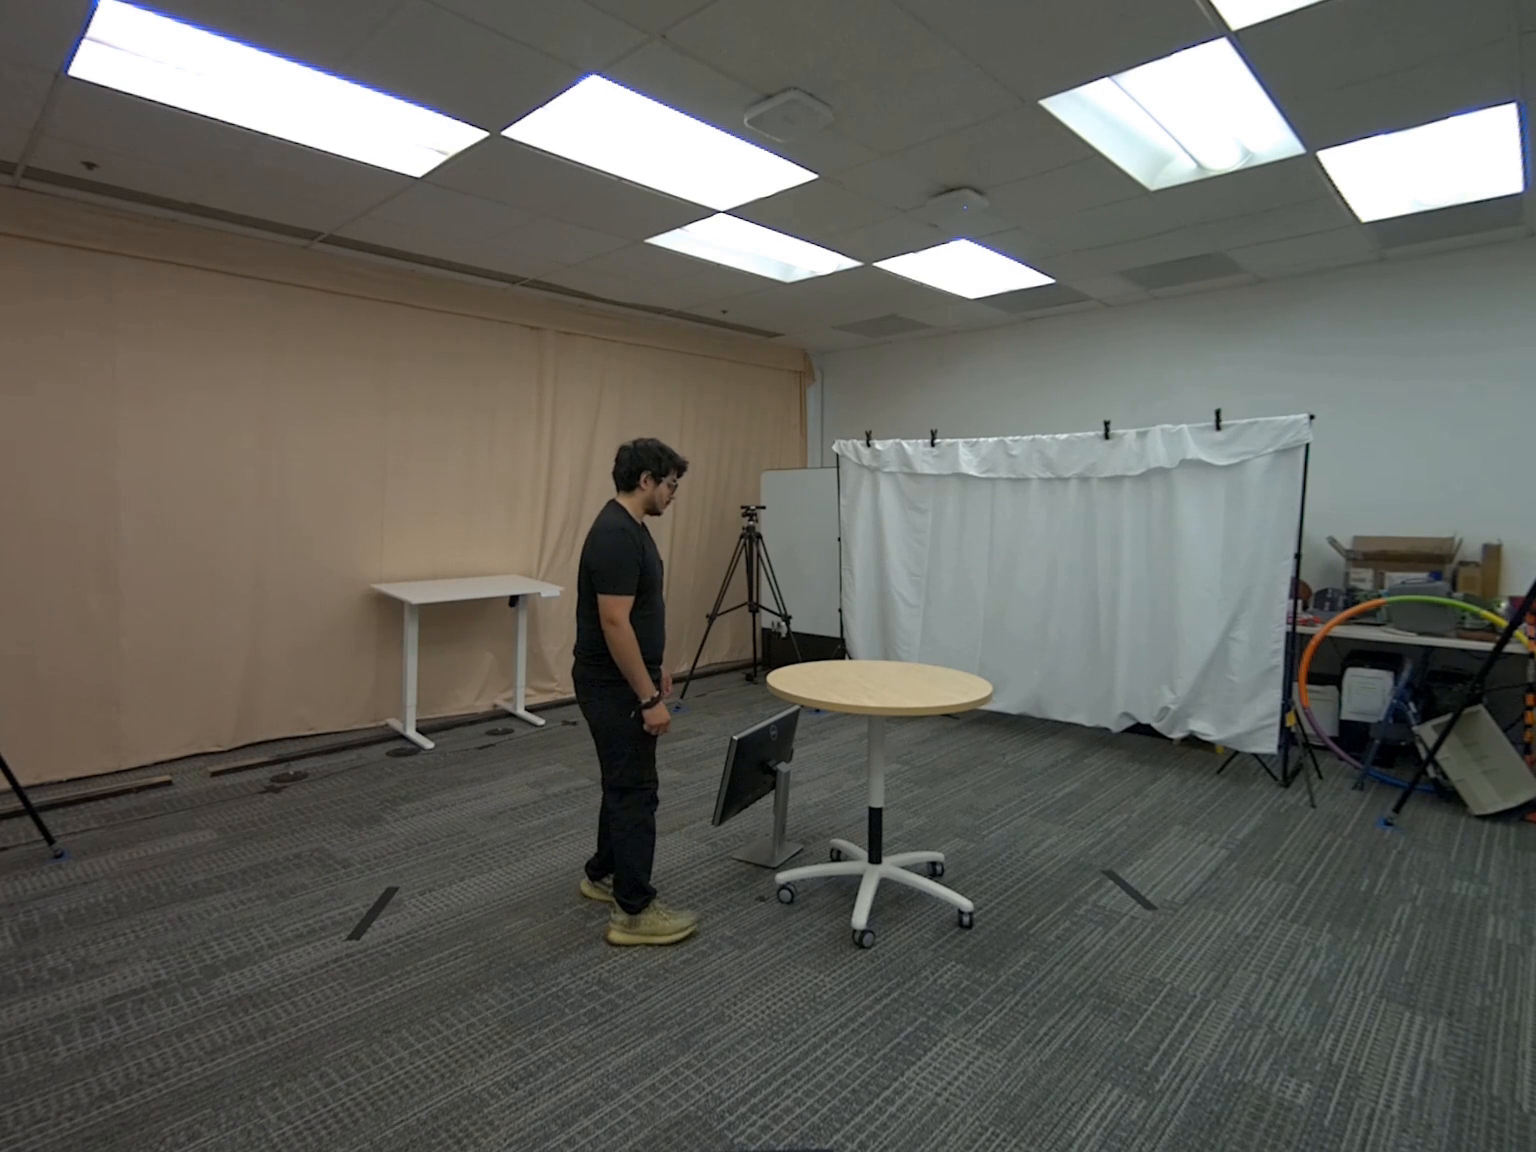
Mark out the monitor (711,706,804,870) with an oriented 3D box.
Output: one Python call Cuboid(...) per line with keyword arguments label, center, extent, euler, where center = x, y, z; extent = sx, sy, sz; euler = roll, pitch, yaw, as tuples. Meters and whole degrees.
Cuboid(label="monitor", center=(0.020, 0.846, 3.341), extent=(0.216, 0.552, 0.551), euler=(9, 8, 28))
